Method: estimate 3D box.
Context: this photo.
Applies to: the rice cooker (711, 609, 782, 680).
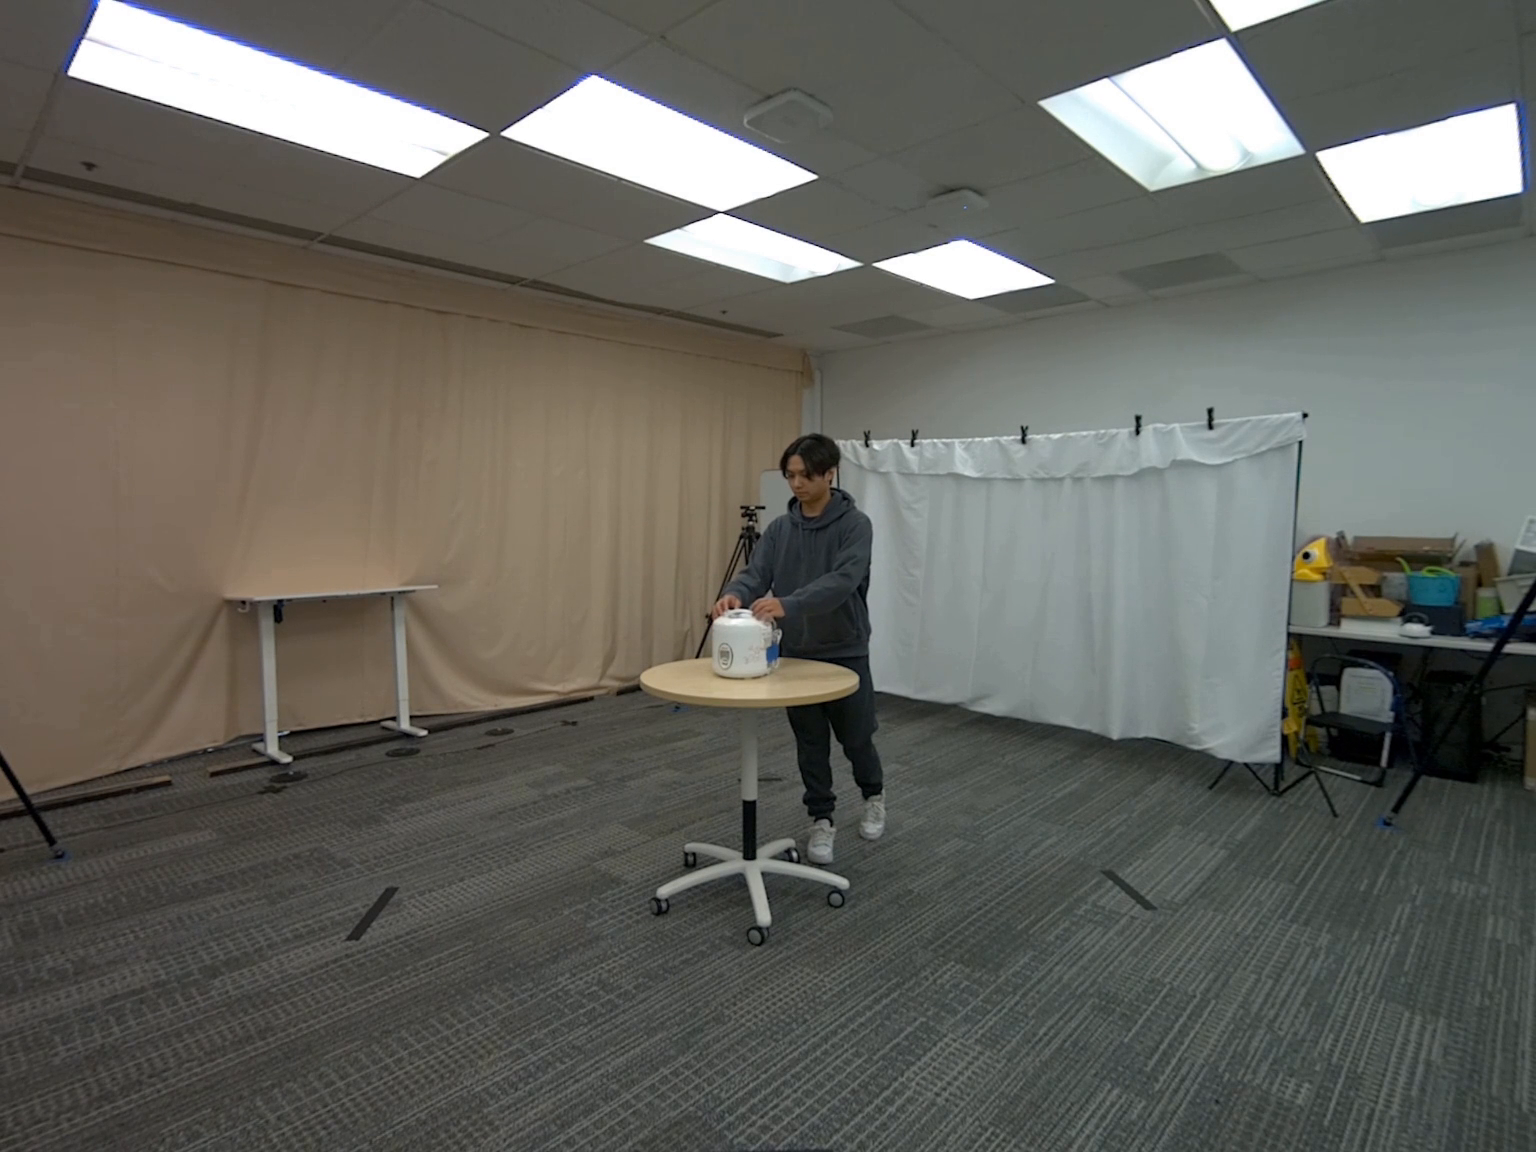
[{"bbox_3d":[-0.086,0.229,2.969,0.227,0.233,0.211,1,1,33],"label":"rice cooker"}]
